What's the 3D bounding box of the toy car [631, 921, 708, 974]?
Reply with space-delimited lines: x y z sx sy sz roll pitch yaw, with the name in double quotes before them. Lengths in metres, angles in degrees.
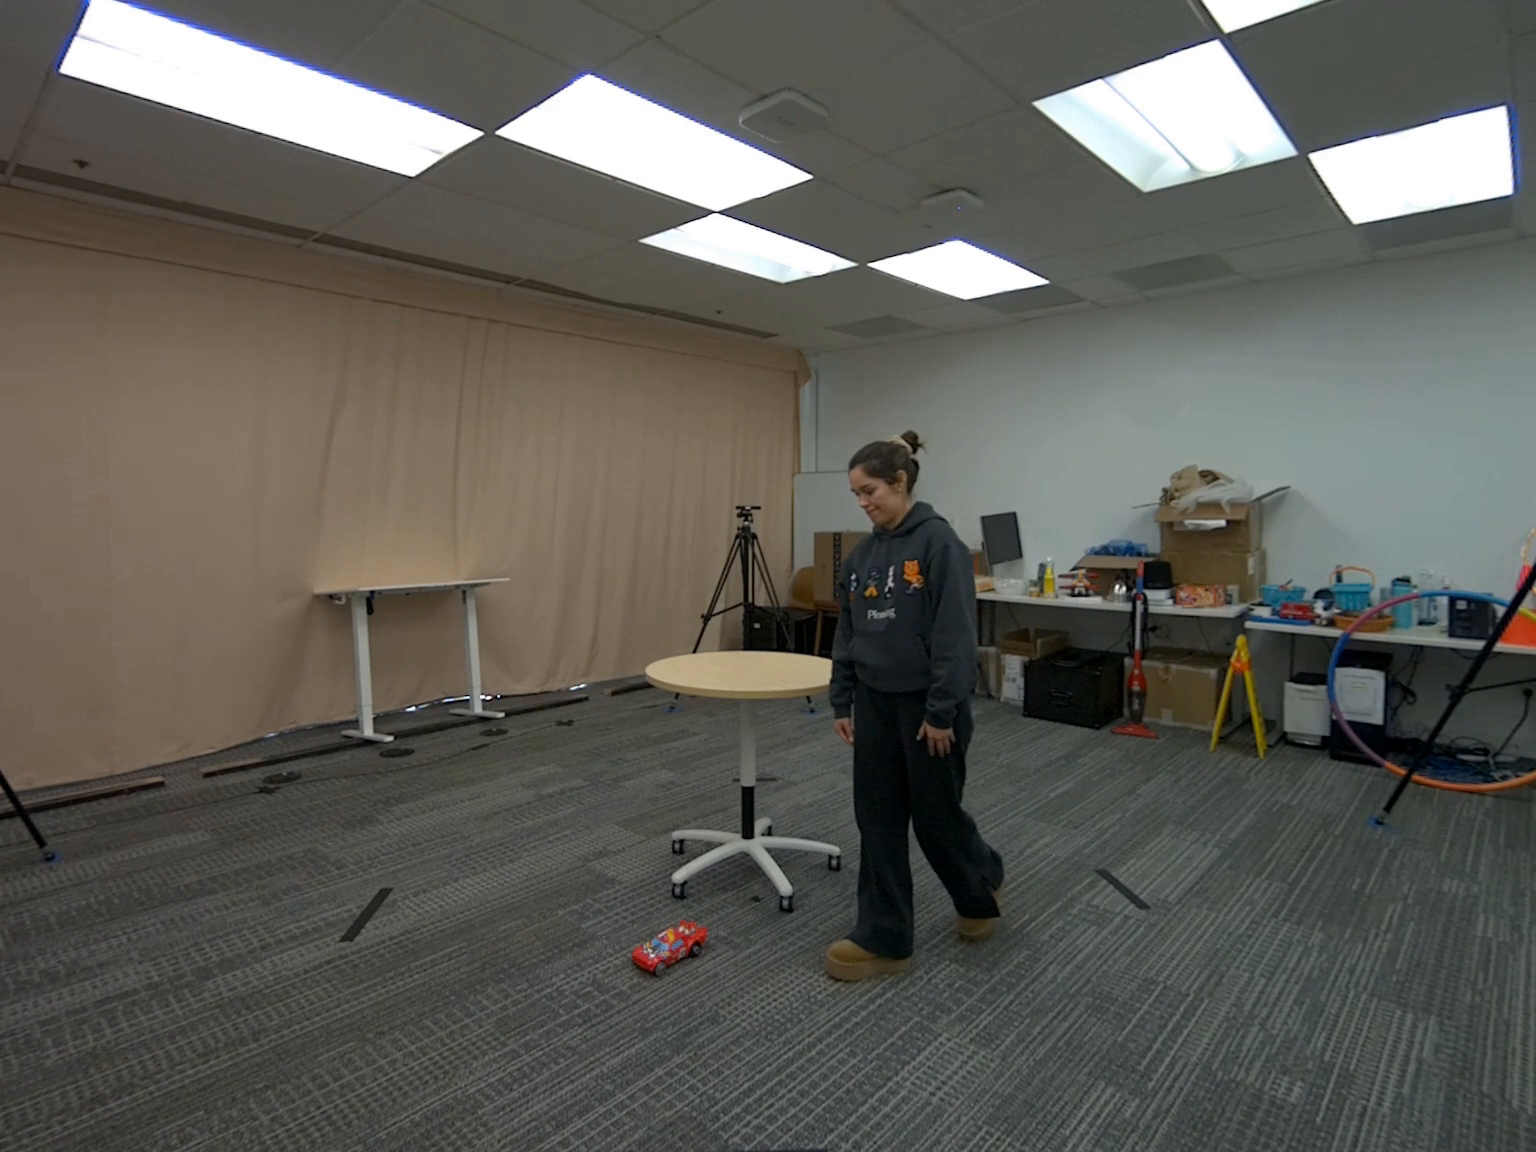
"toy car" -0.281 1.152 2.598 0.134 0.082 0.248 2 17 45
